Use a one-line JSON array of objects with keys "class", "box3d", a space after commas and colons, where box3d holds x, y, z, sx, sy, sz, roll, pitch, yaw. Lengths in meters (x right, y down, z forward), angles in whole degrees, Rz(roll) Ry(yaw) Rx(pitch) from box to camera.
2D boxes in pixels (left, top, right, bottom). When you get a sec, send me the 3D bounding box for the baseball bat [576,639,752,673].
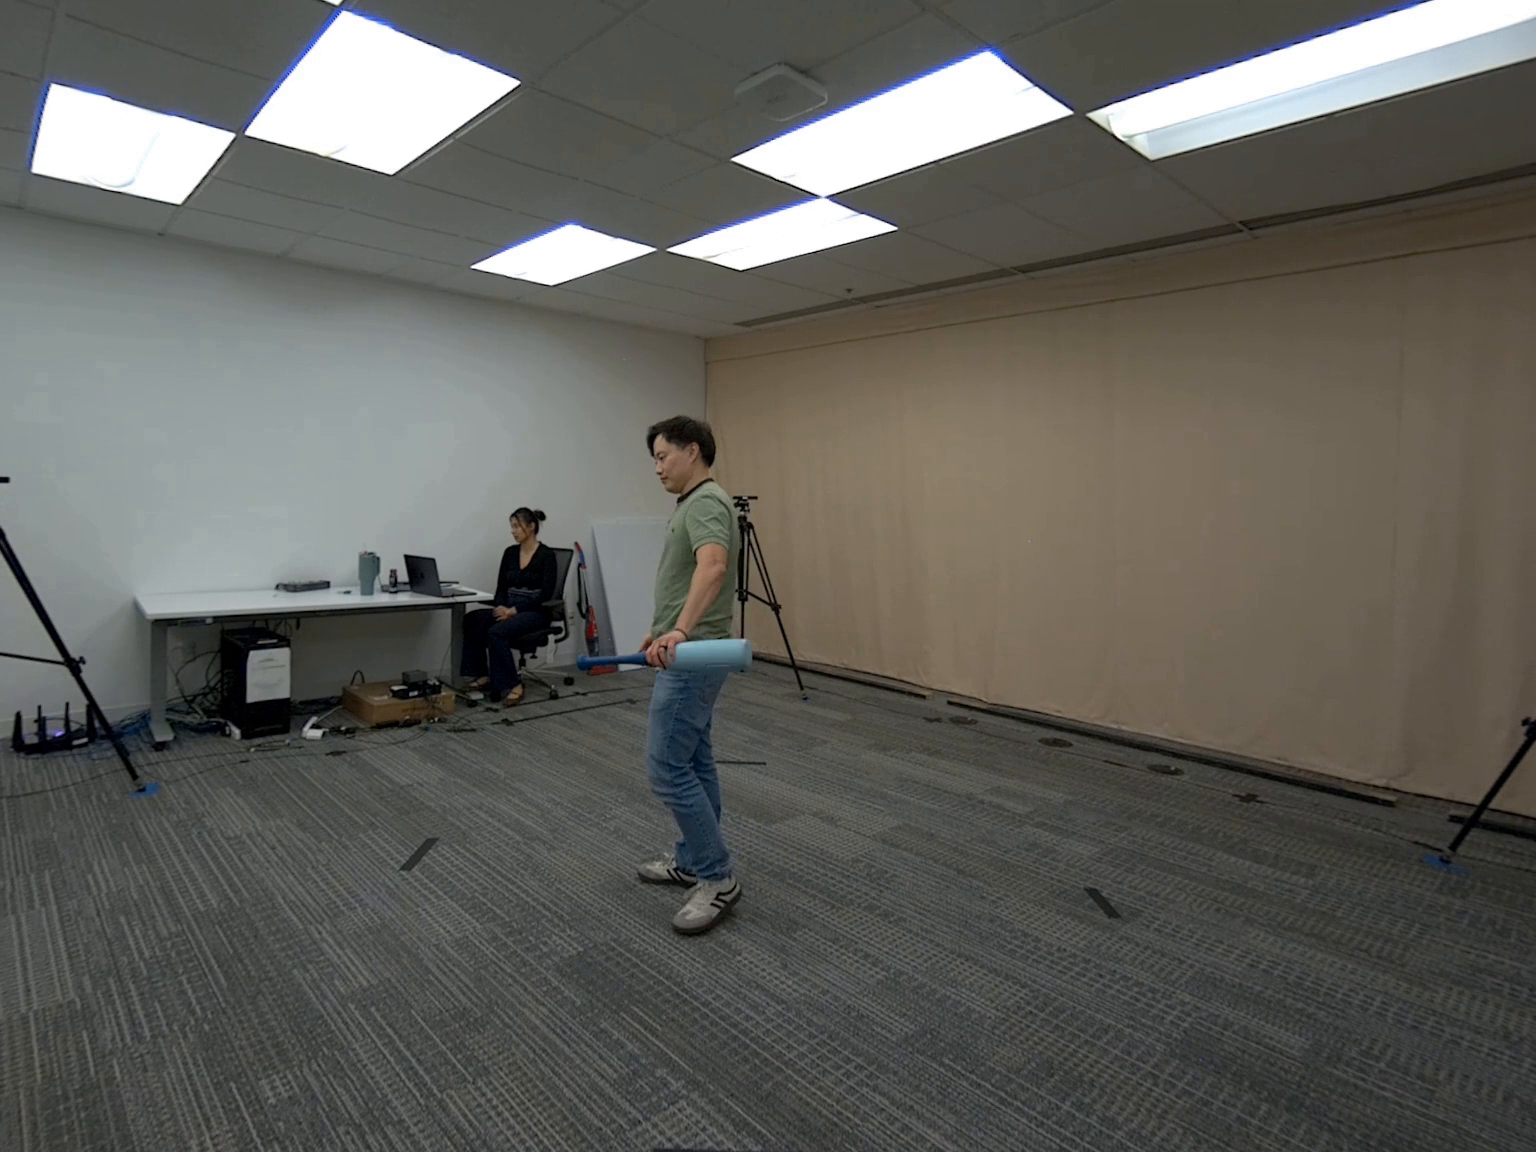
[{"class": "baseball bat", "box3d": [-0.346, 0.247, 2.444, 0.548, 0.089, 0.088, -5, 3, 14]}]
